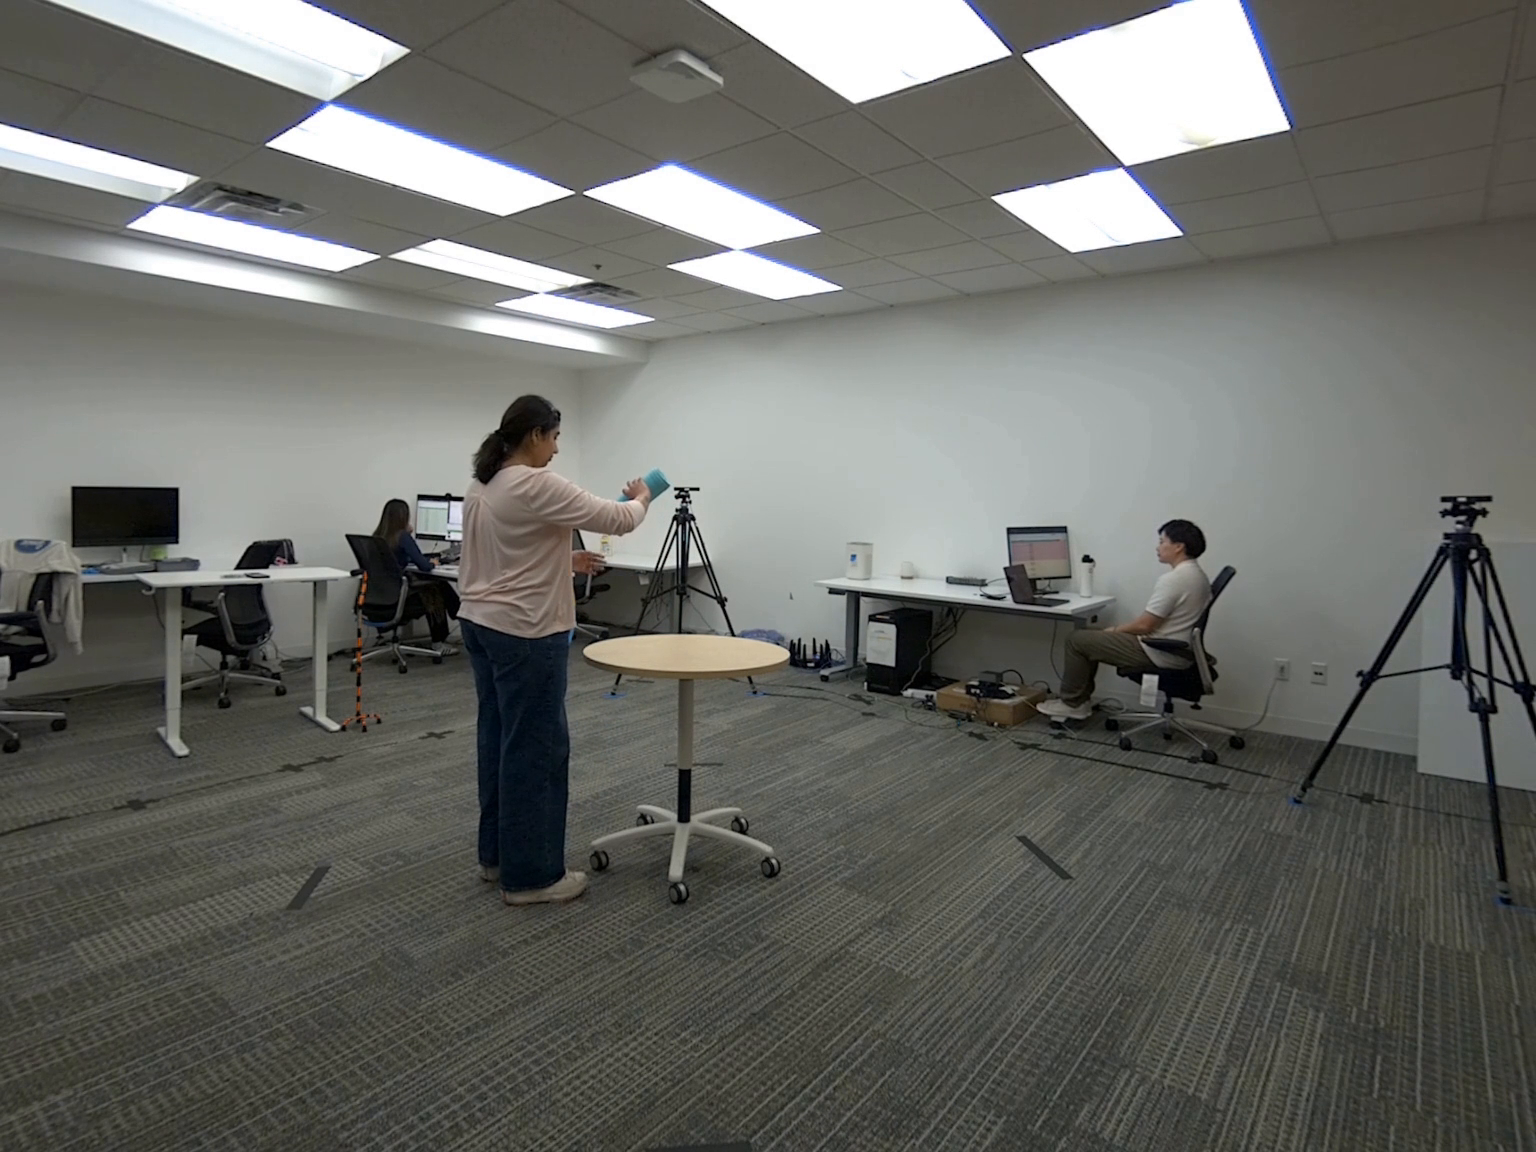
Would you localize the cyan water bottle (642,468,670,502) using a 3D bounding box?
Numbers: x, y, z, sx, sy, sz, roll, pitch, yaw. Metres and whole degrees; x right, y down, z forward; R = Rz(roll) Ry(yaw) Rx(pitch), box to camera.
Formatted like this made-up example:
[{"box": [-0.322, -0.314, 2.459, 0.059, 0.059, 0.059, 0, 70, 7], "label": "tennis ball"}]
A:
[{"box": [-0.502, -0.270, 3.105, 0.284, 0.093, 0.092, -42, -2, 8], "label": "cyan water bottle"}]
